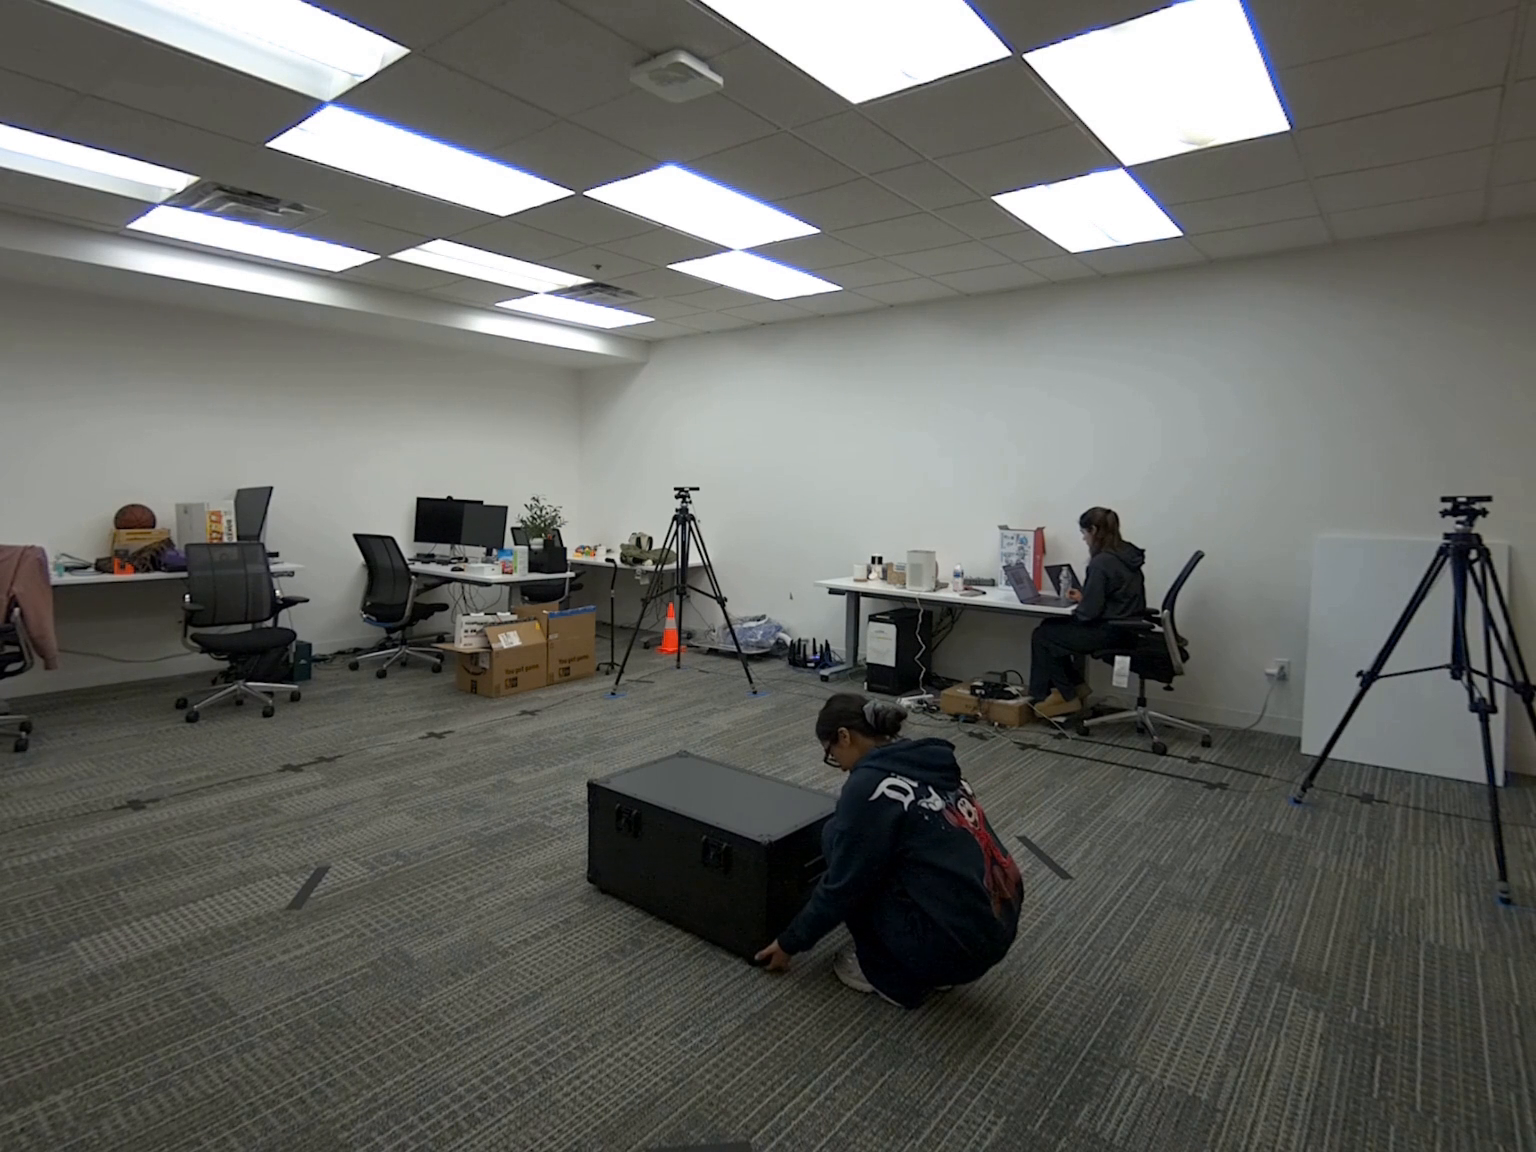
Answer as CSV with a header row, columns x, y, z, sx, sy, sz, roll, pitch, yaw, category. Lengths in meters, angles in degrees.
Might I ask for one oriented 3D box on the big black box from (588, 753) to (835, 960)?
x,y,z,sx,sy,sz,roll,pitch,yaw,category
-0.203,0.898,2.881,0.891,0.395,0.506,6,6,38,big black box
